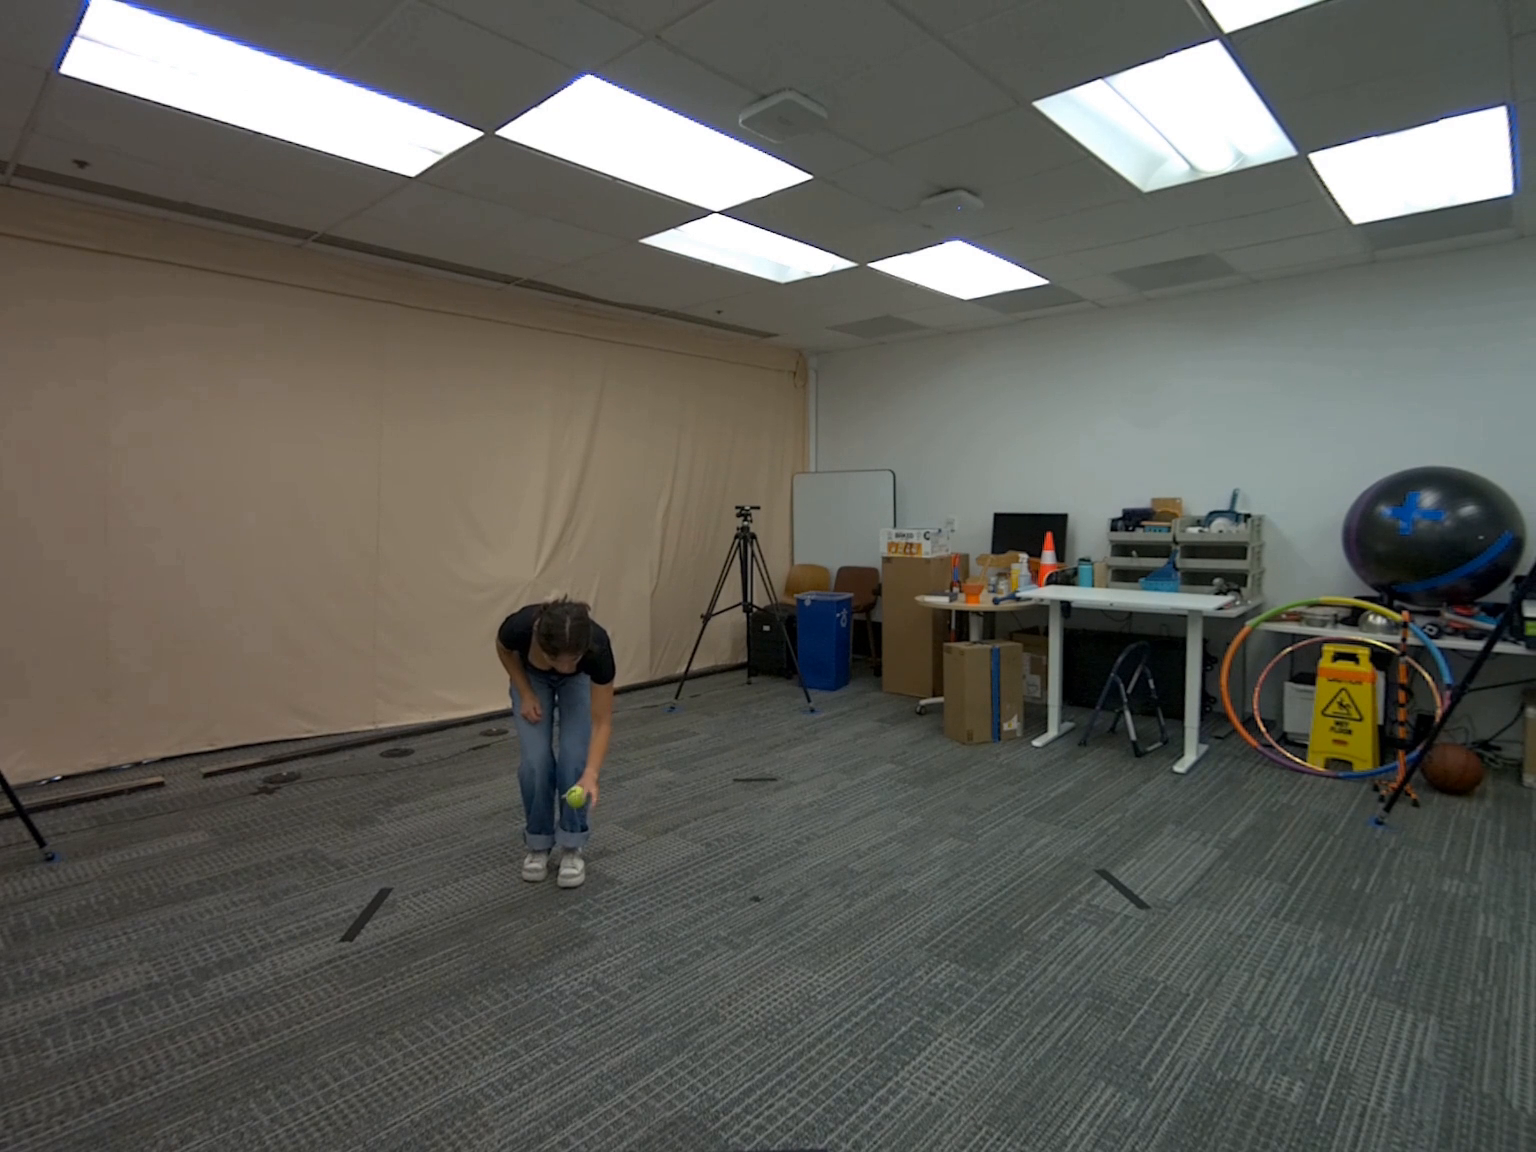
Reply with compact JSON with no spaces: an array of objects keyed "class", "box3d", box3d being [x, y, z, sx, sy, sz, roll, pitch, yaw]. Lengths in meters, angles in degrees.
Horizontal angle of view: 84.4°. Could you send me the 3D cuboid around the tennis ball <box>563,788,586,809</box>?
[{"class":"tennis ball","box3d":[-0.625,0.770,2.782,0.066,0.066,0.067,0,4,-2]}]
